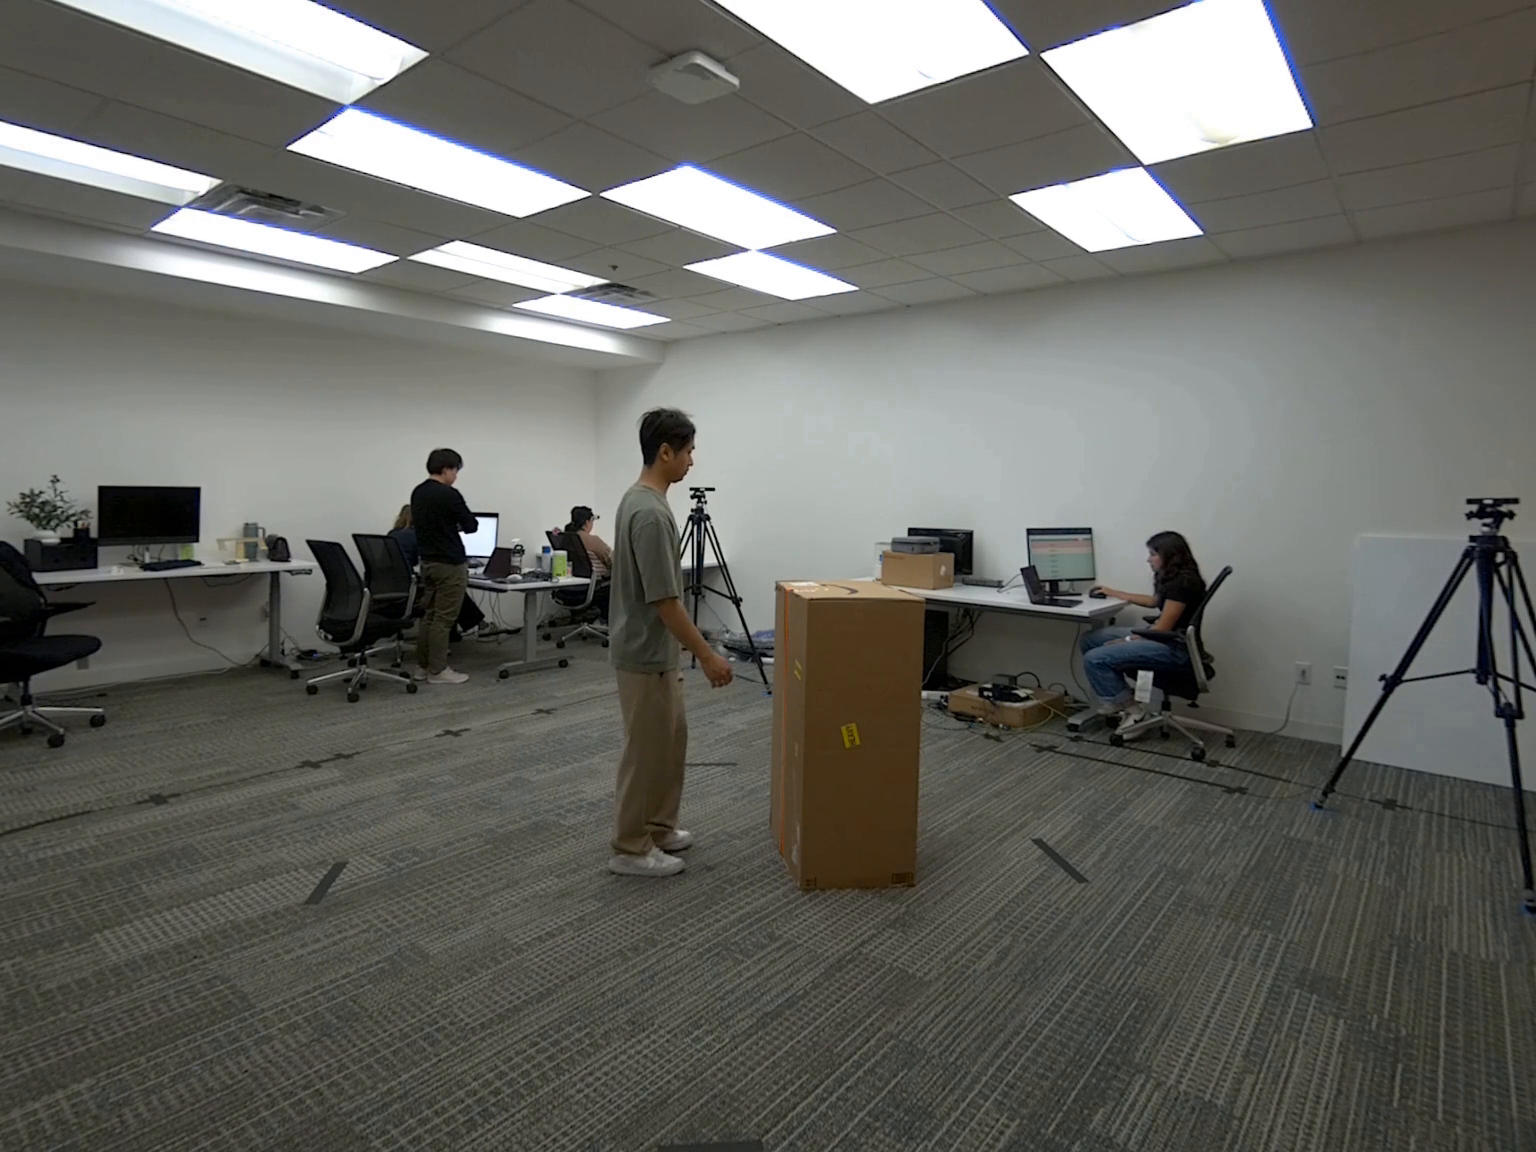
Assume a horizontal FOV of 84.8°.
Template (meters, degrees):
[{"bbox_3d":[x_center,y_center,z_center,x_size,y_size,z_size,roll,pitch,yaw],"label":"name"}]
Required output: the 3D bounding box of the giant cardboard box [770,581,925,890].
[{"bbox_3d":[0.267,0.557,3.233,0.422,1.023,0.585,1,3,-11],"label":"giant cardboard box"}]
